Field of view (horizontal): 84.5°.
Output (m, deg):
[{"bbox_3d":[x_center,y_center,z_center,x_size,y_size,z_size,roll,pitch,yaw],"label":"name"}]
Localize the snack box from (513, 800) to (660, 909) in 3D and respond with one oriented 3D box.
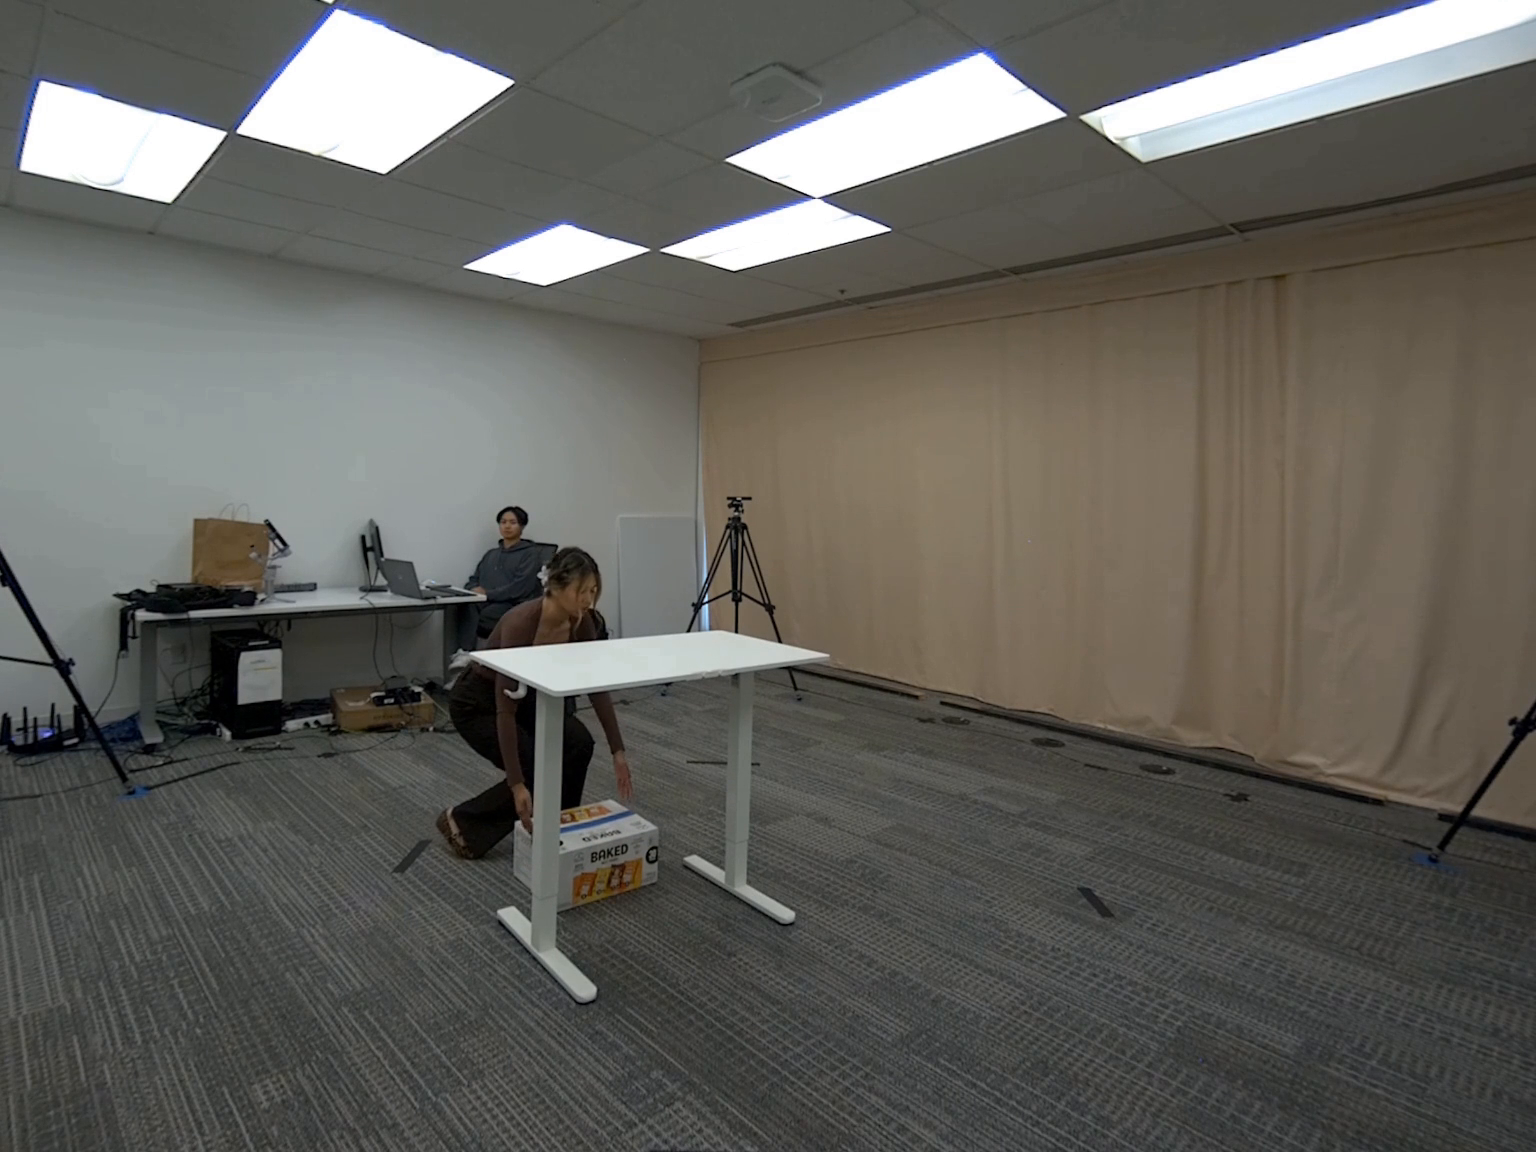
[{"bbox_3d":[-0.664,0.999,3.037,0.396,0.205,0.349,-2,6,-39],"label":"snack box"}]
